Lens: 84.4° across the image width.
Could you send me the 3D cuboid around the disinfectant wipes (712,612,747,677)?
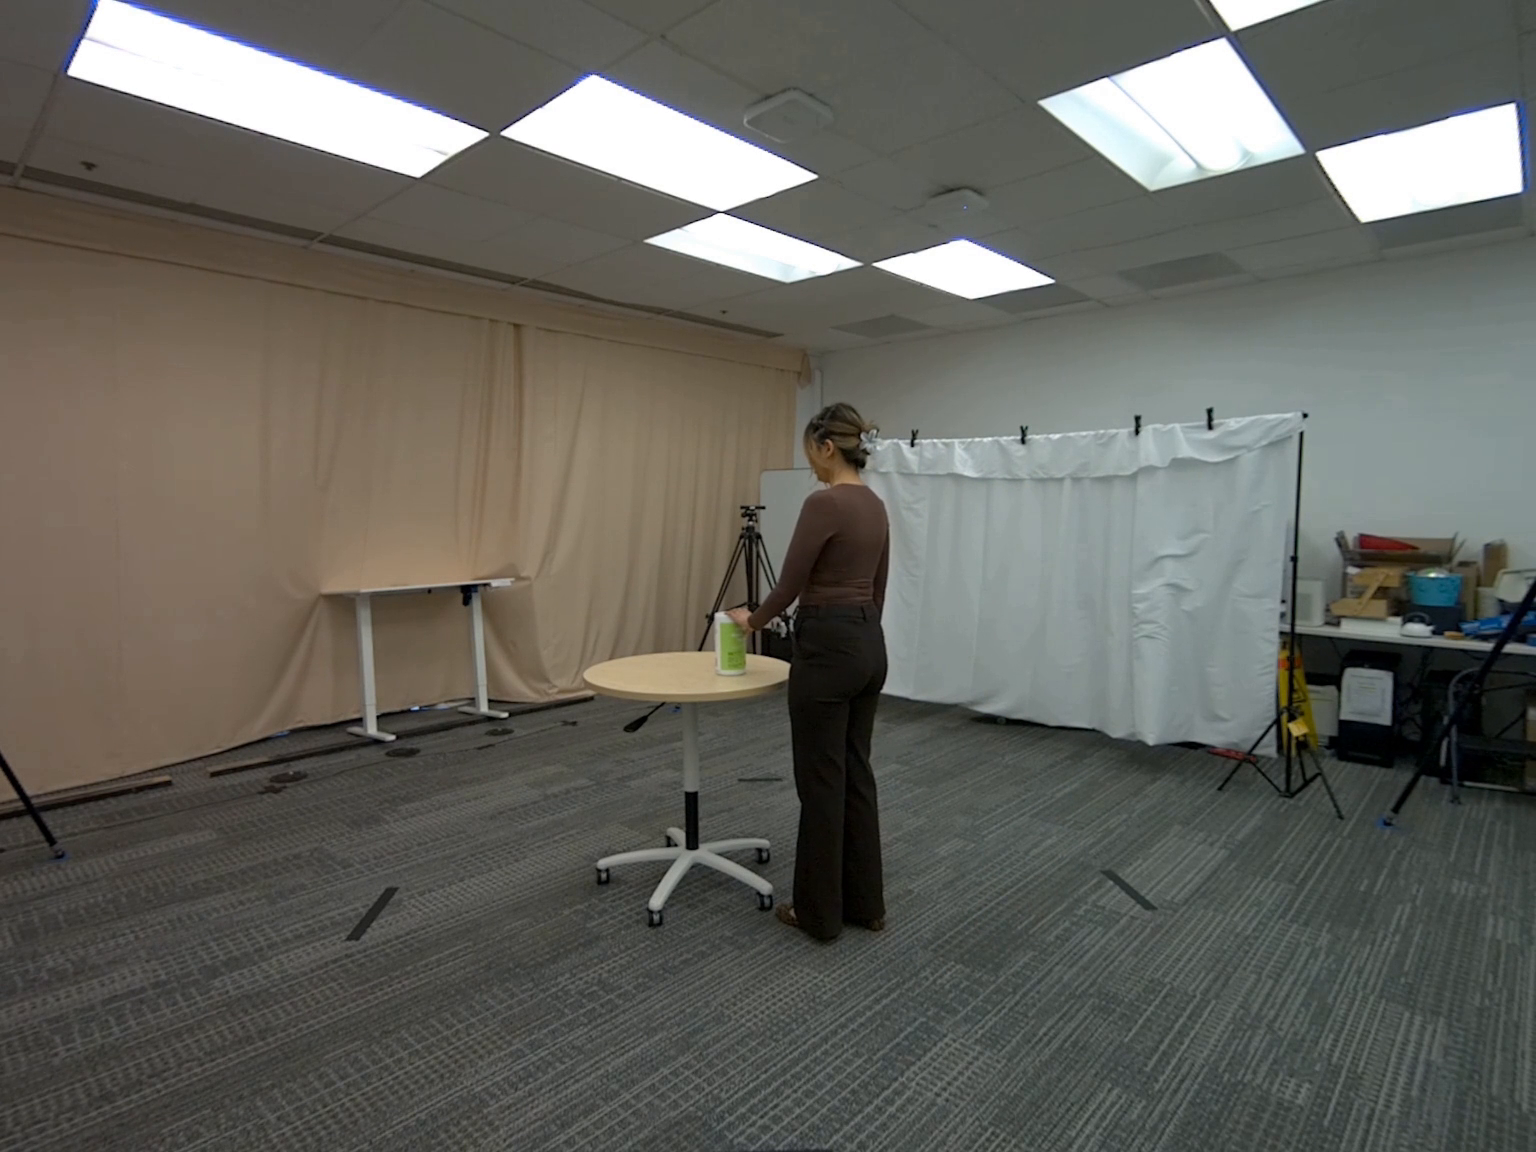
[{"bbox_3d":[-0.130,0.241,2.986,0.117,0.217,0.118,2,4,-2],"label":"disinfectant wipes"}]
